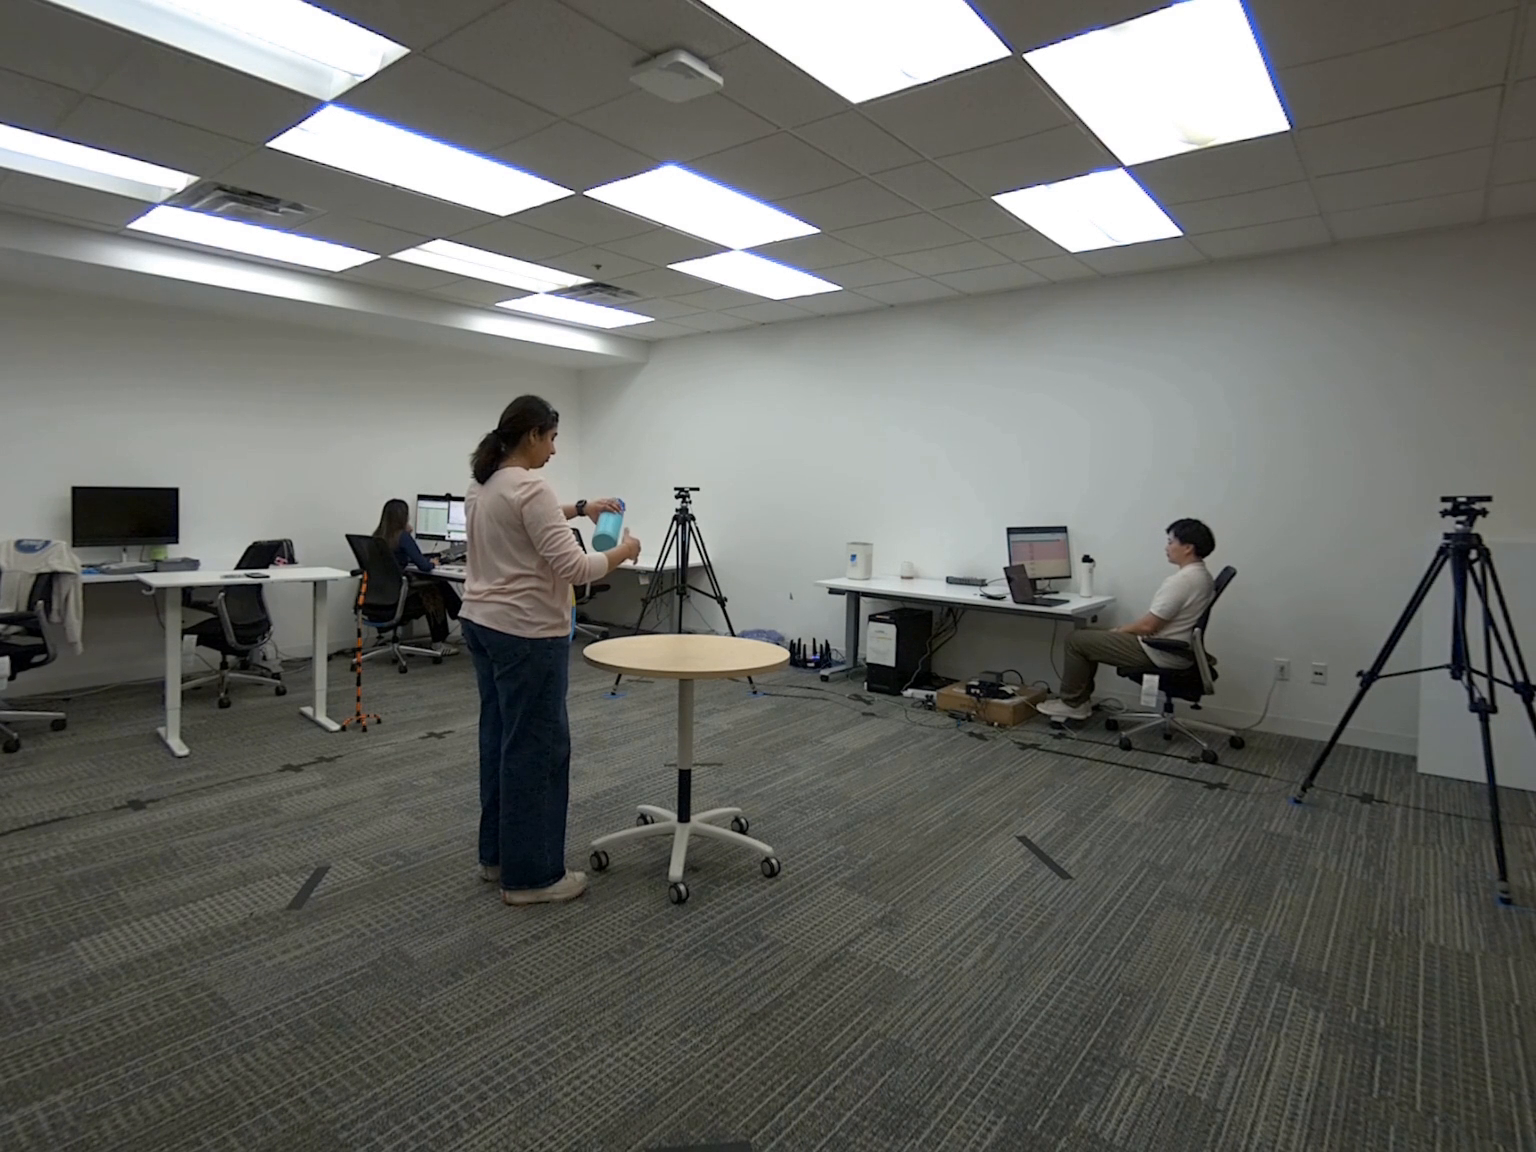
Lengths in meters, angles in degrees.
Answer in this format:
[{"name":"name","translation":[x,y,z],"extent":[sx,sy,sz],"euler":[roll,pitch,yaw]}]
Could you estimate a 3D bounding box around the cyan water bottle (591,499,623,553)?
[{"name":"cyan water bottle","translation":[-0.597,-0.190,3.142],"extent":[0.092,0.090,0.291],"euler":[0,34,-3]}]
